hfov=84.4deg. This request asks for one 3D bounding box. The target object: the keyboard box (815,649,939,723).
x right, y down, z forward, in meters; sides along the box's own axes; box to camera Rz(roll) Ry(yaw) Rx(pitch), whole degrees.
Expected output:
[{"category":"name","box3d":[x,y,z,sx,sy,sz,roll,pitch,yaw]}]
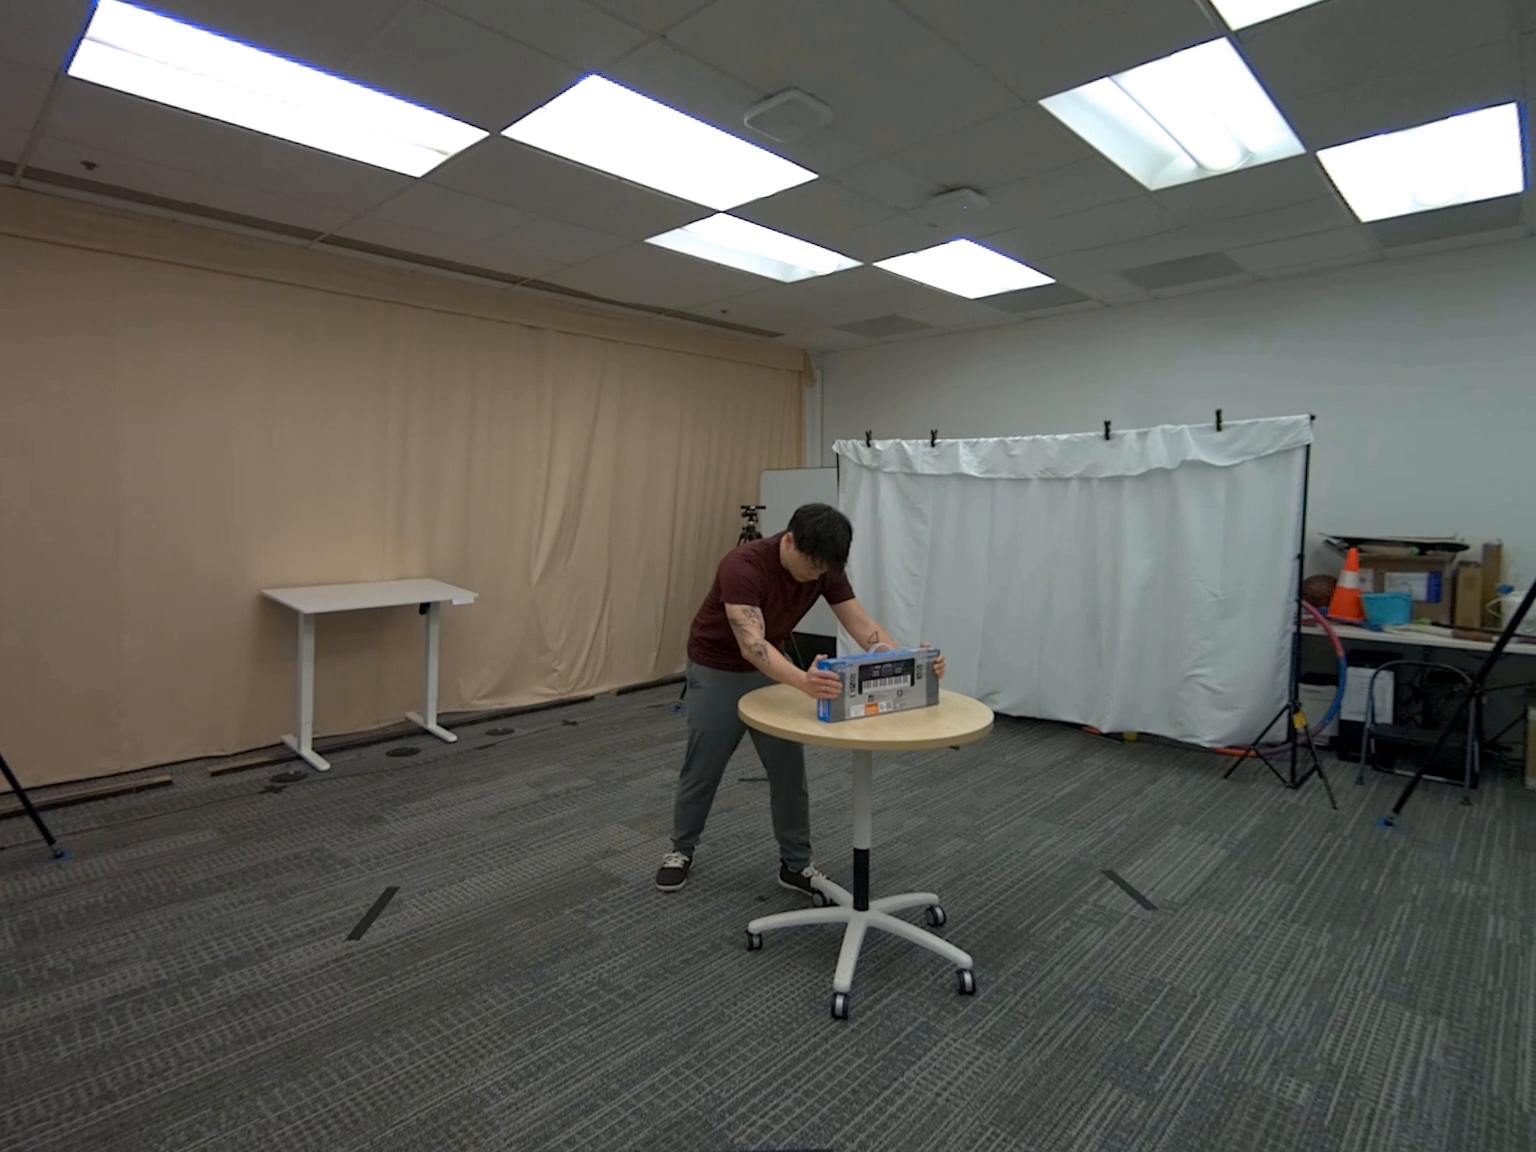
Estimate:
[{"category":"keyboard box","box3d":[0.344,0.327,2.500,0.425,0.175,0.061,-2,6,-32]}]
